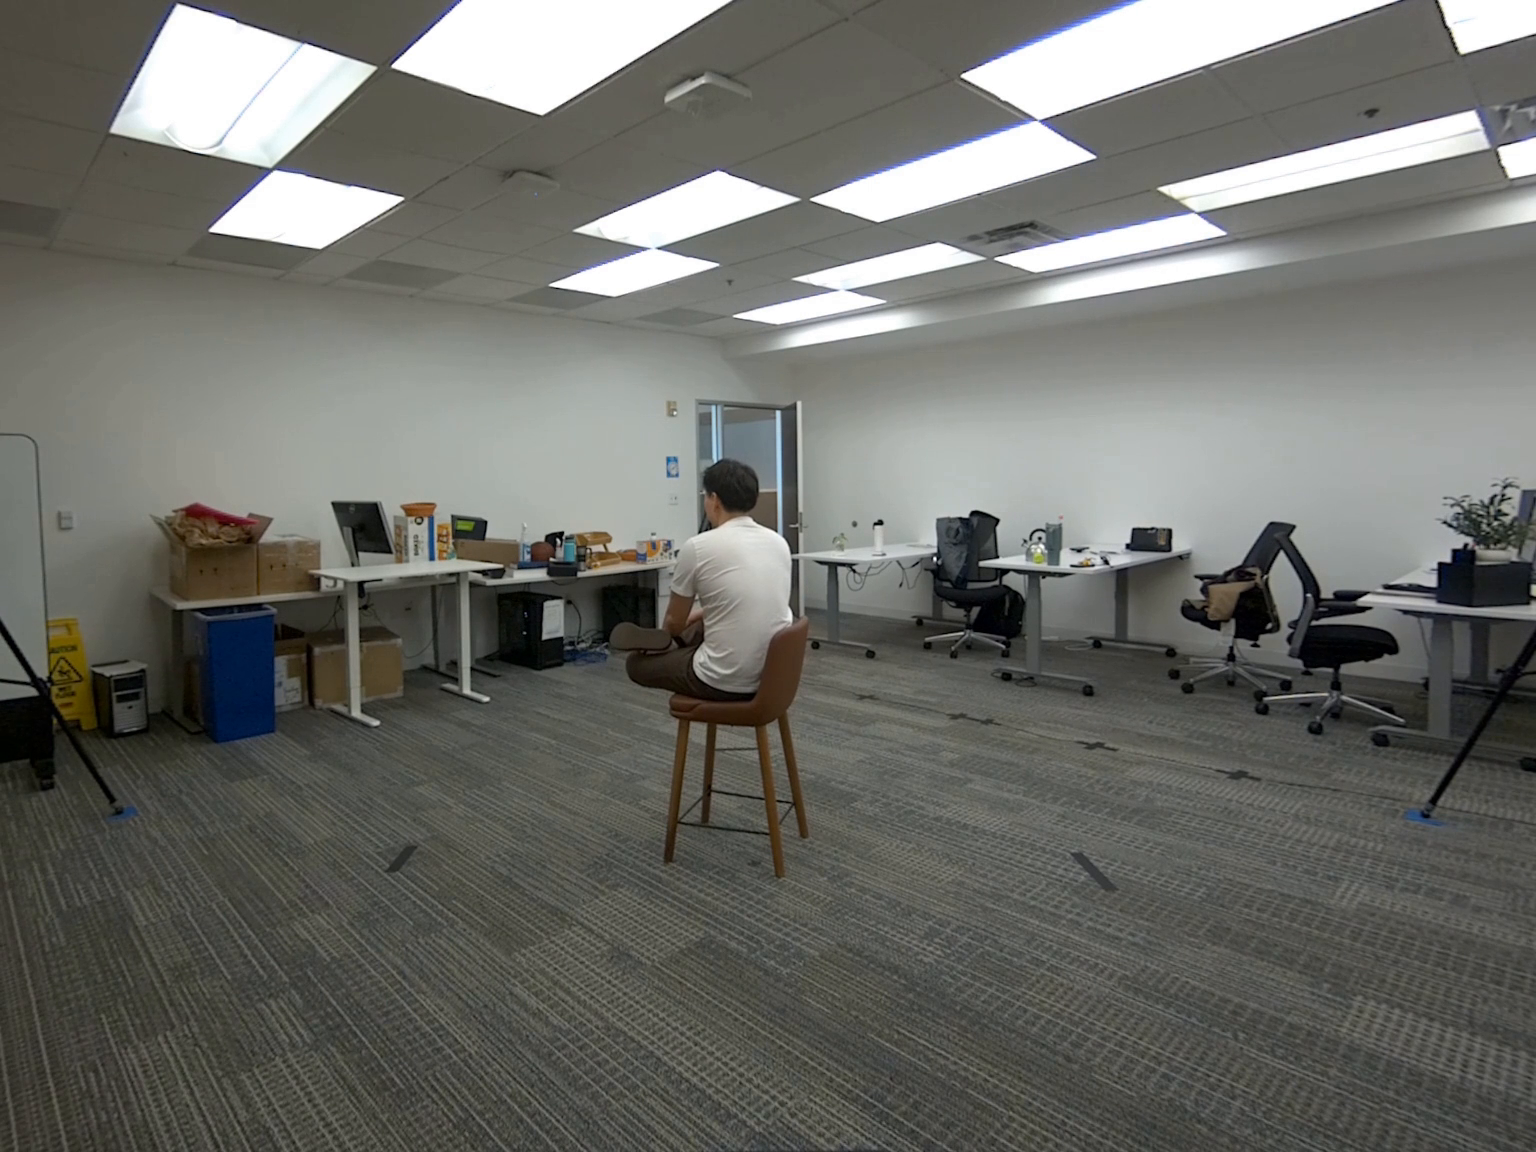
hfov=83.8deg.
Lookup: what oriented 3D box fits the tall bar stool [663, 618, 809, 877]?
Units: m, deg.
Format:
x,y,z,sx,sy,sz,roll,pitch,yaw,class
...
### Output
x,y,z,sx,sy,sz,roll,pitch,yaw,class
-0.102,0.603,3.210,0.477,0.886,0.449,3,5,20,tall bar stool
